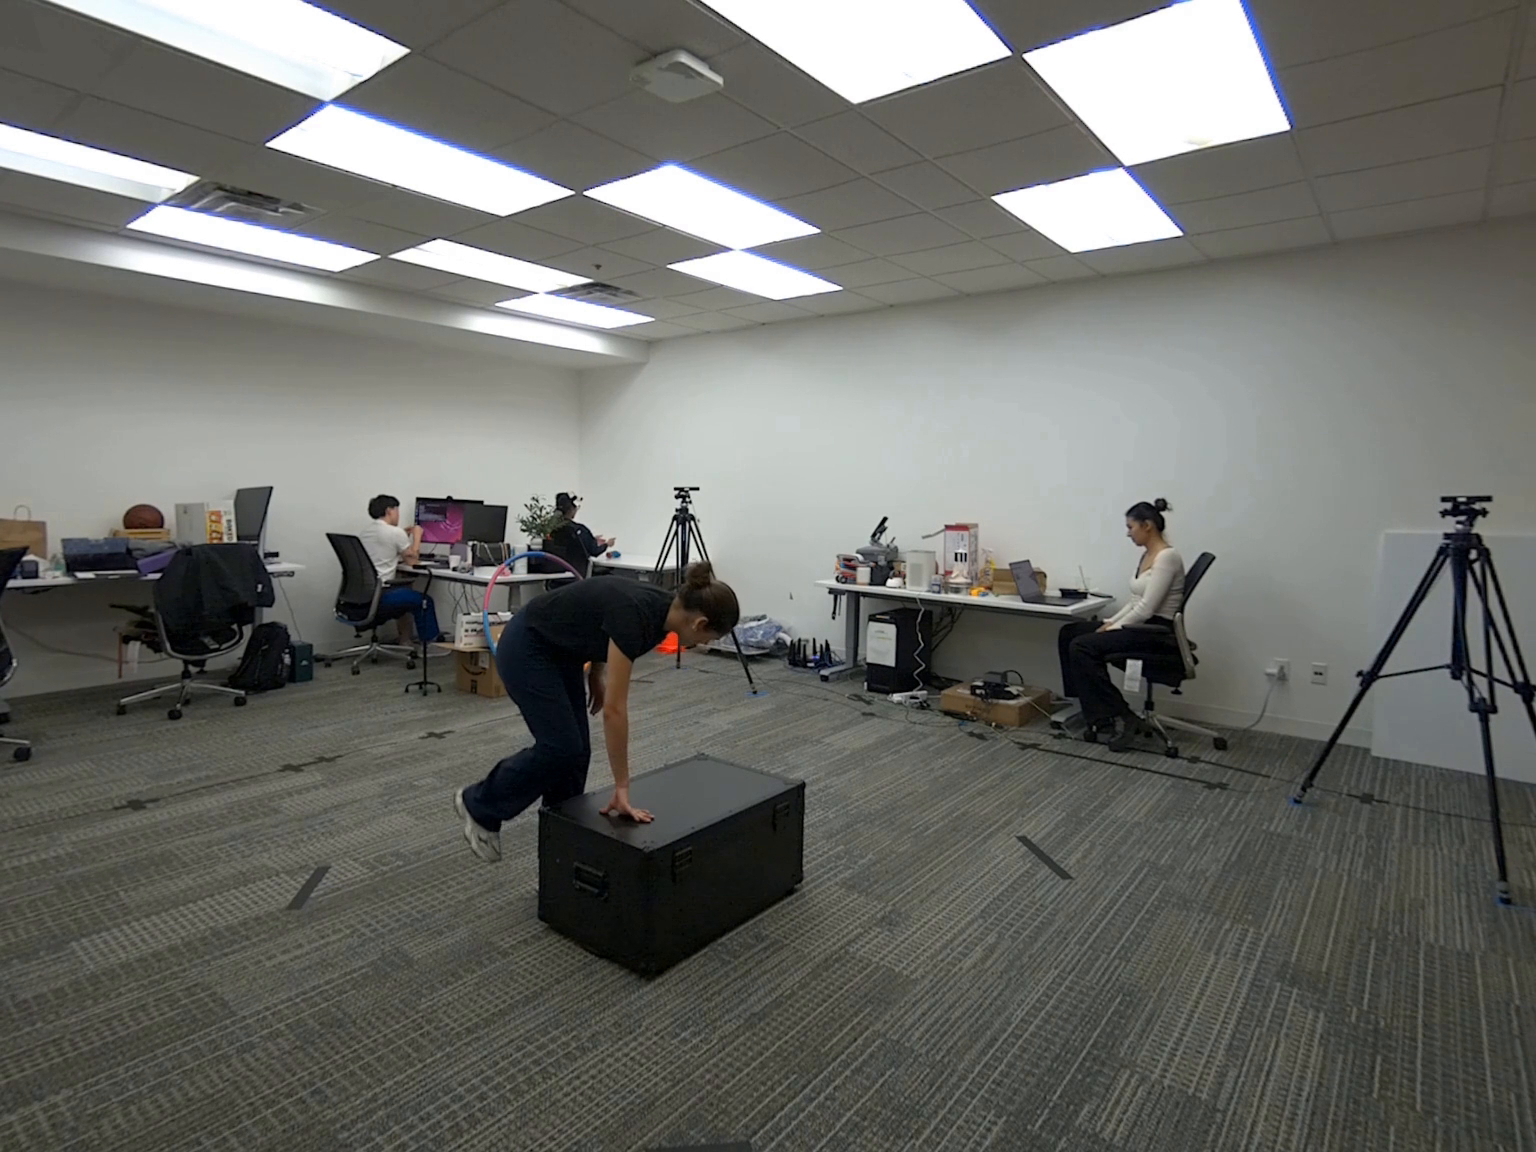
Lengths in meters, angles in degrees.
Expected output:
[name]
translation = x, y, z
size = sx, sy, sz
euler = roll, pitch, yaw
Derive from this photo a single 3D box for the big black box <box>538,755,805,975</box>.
[big black box]
translation = -0.269, 0.884, 2.851
size = 0.538, 0.395, 0.836
euler = 4, 5, 38
